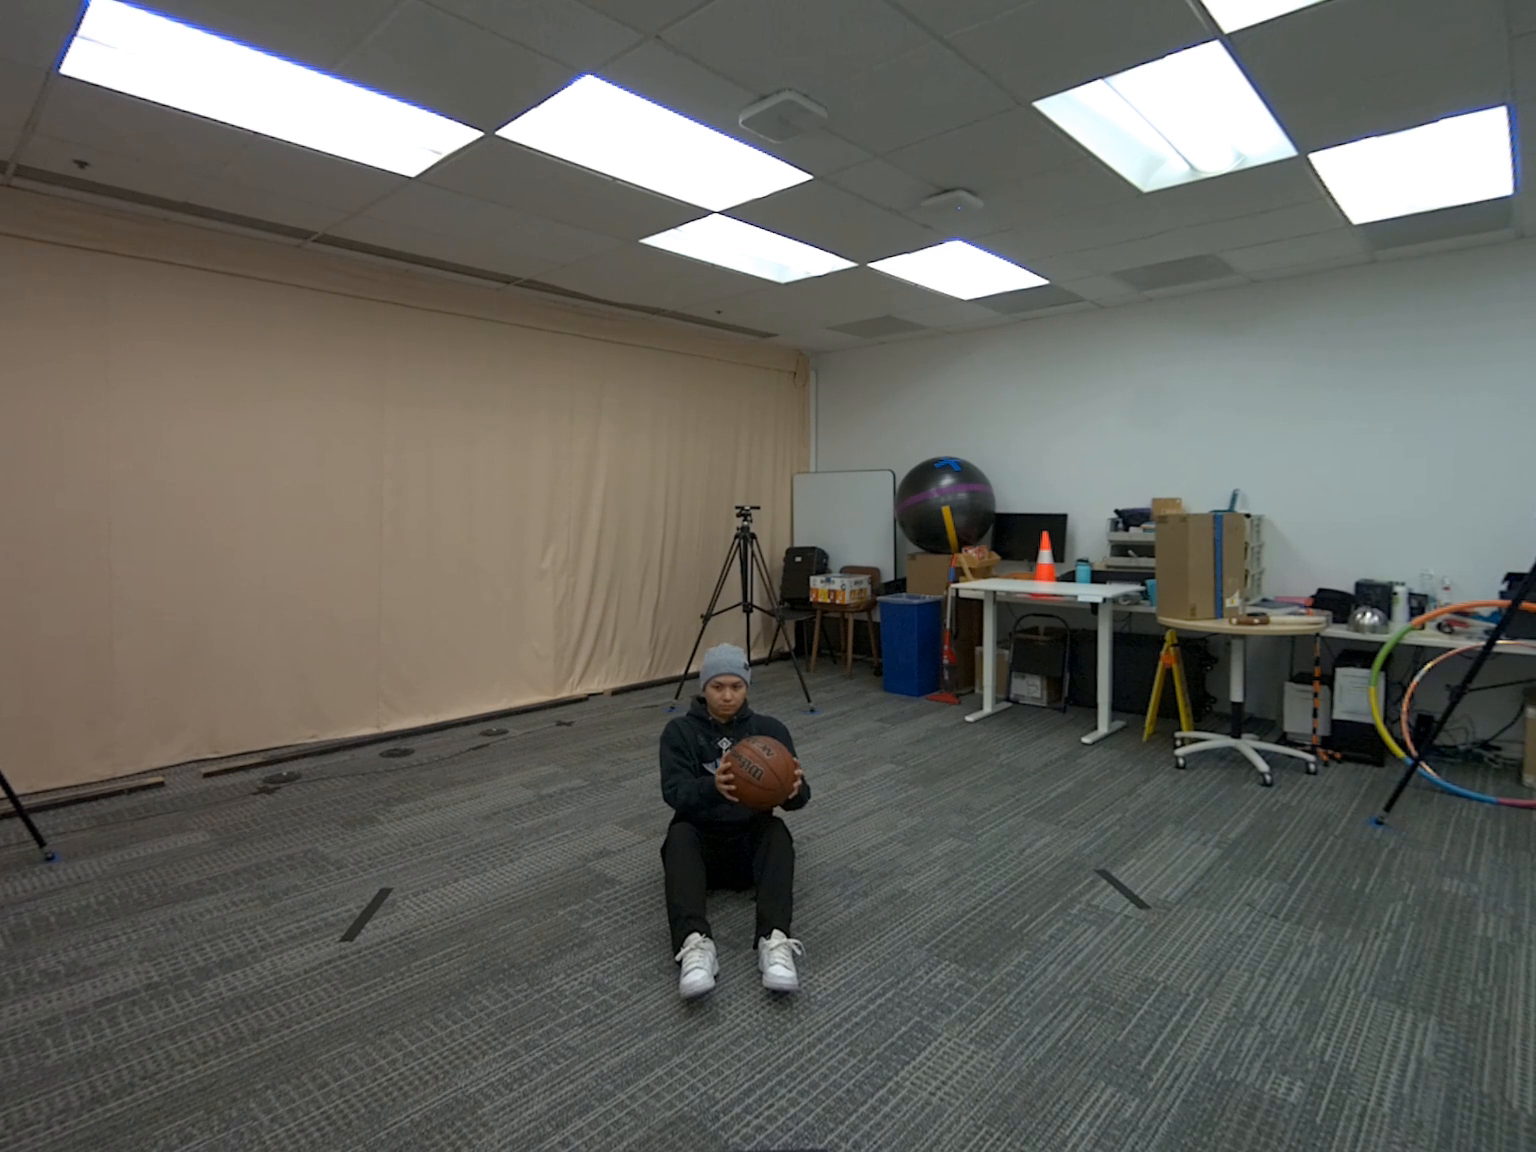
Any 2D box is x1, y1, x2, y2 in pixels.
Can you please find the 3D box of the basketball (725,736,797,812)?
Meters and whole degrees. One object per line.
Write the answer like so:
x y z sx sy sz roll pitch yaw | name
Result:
-0.030 0.646 2.779 0.236 0.235 0.237 0 4 -2 | basketball
